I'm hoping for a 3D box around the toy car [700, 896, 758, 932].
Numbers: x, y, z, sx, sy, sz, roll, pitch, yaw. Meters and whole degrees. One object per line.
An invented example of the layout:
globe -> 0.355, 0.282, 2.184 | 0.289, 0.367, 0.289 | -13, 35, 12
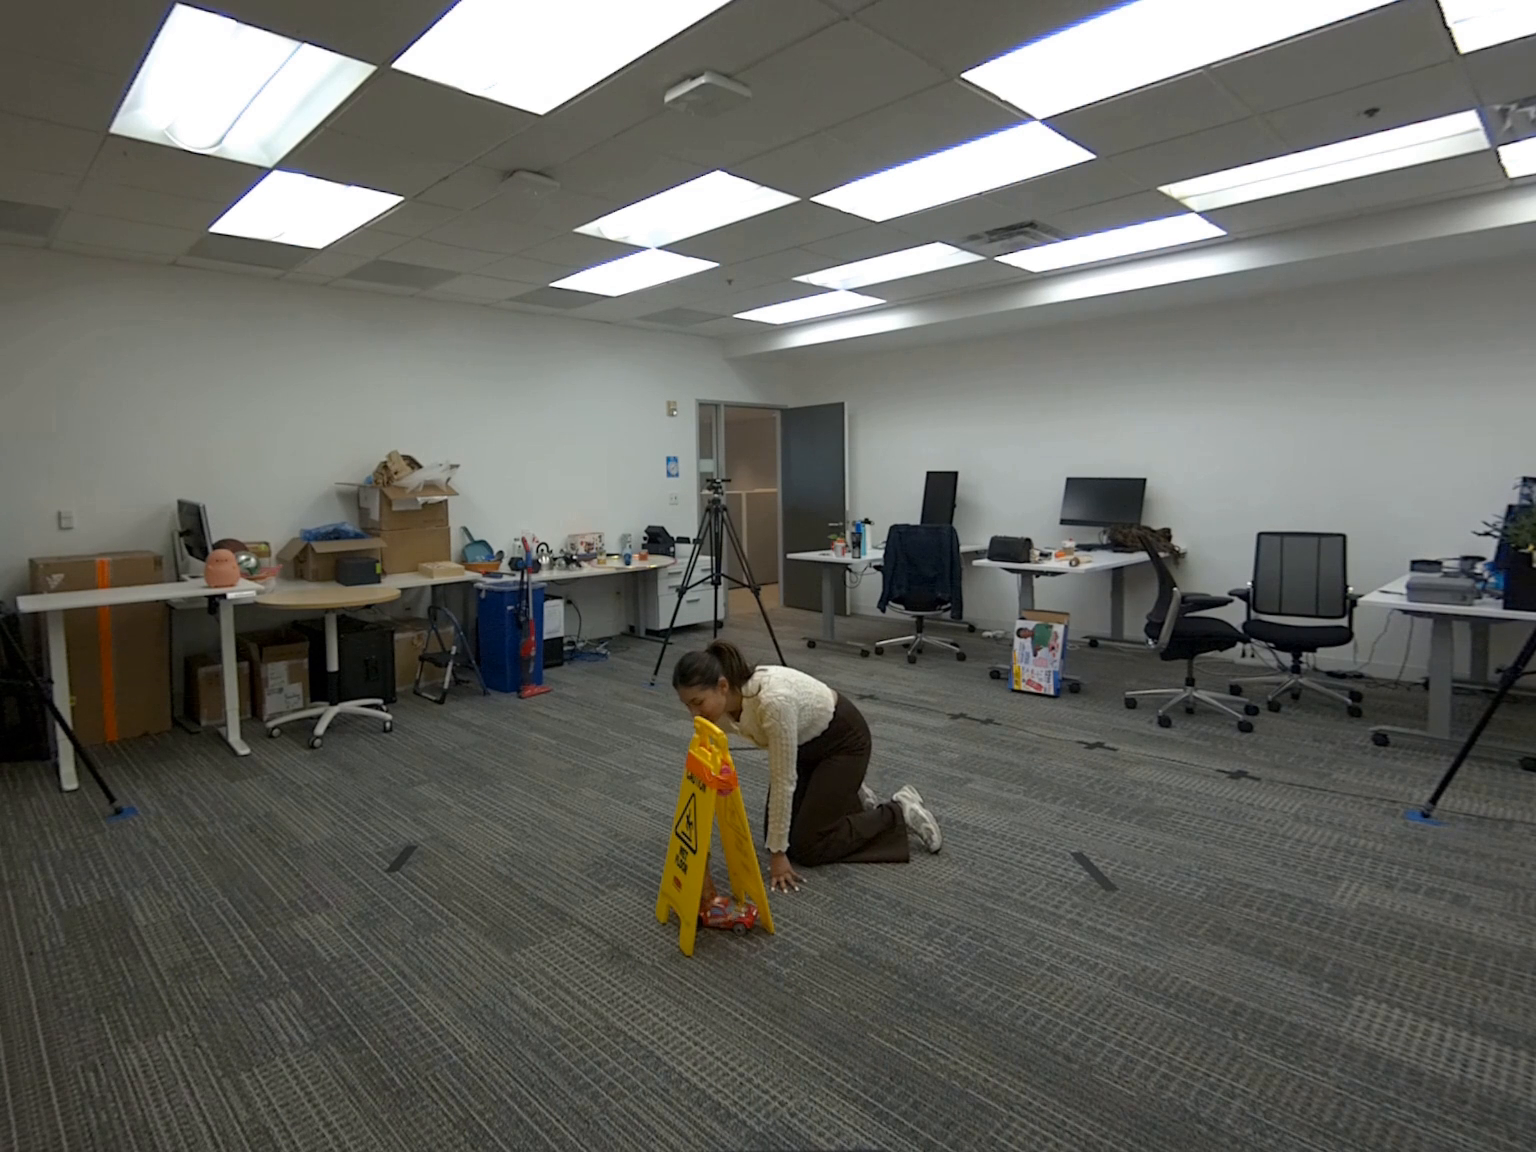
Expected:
toy car -> -0.172, 1.058, 2.695 | 0.259, 0.083, 0.129 | 11, 9, 17
